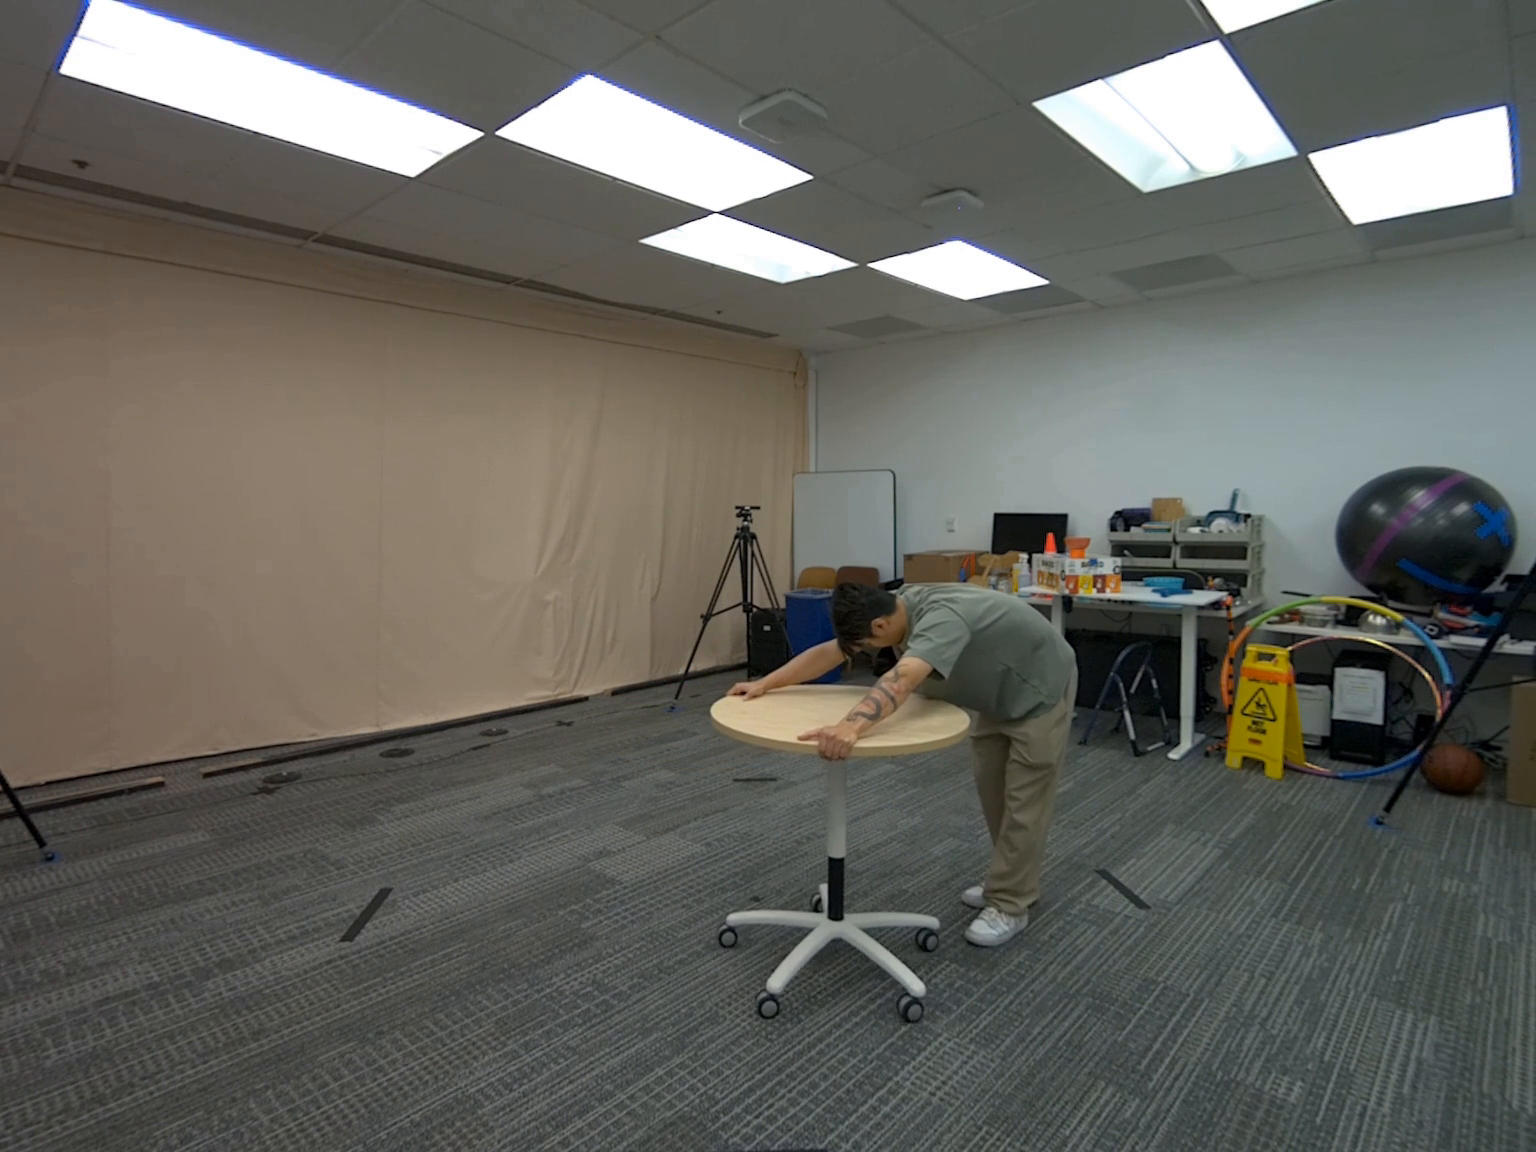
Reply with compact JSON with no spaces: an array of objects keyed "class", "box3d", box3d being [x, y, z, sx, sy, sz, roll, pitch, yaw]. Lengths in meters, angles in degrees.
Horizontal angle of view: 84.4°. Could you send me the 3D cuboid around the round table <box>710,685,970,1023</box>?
[{"class":"round table","box3d":[0.210,0.798,2.529,0.784,0.785,0.787,0,3,-2]}]
